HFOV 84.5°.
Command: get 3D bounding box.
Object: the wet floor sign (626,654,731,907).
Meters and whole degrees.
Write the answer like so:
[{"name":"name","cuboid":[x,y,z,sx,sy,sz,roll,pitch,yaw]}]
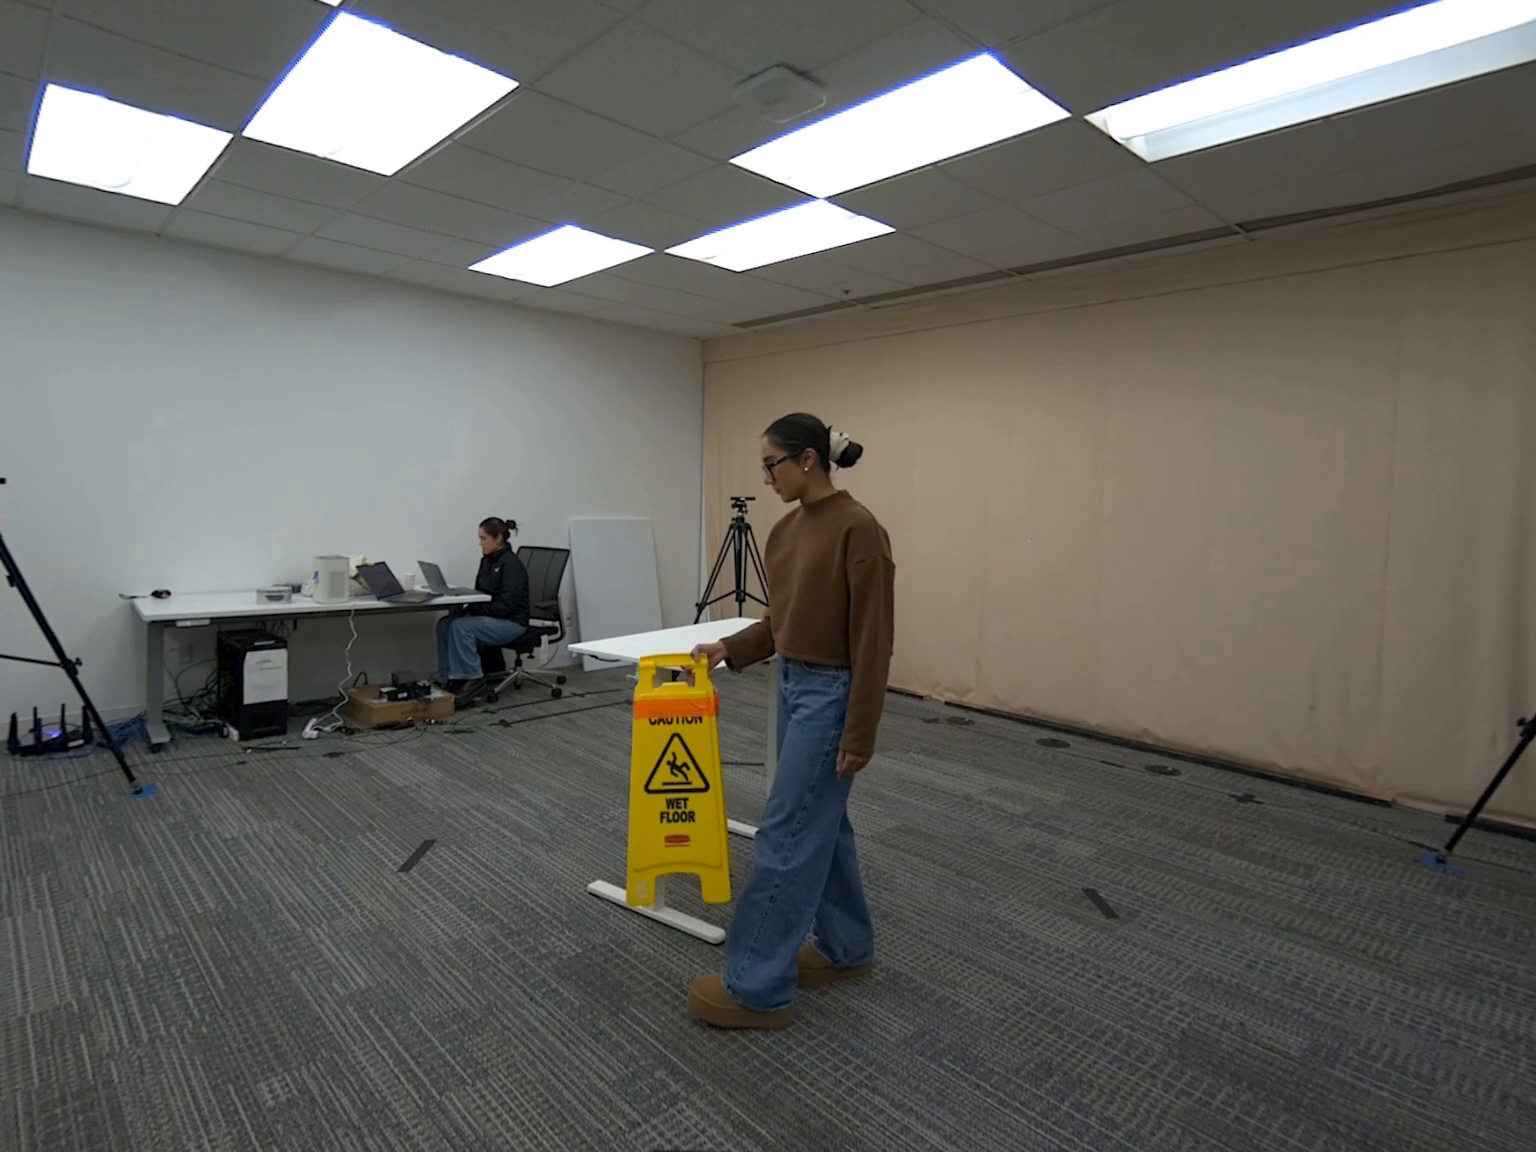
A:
[{"name":"wet floor sign","cuboid":[-0.261,0.547,2.378,0.282,0.647,0.289,-2,-2,1]}]
